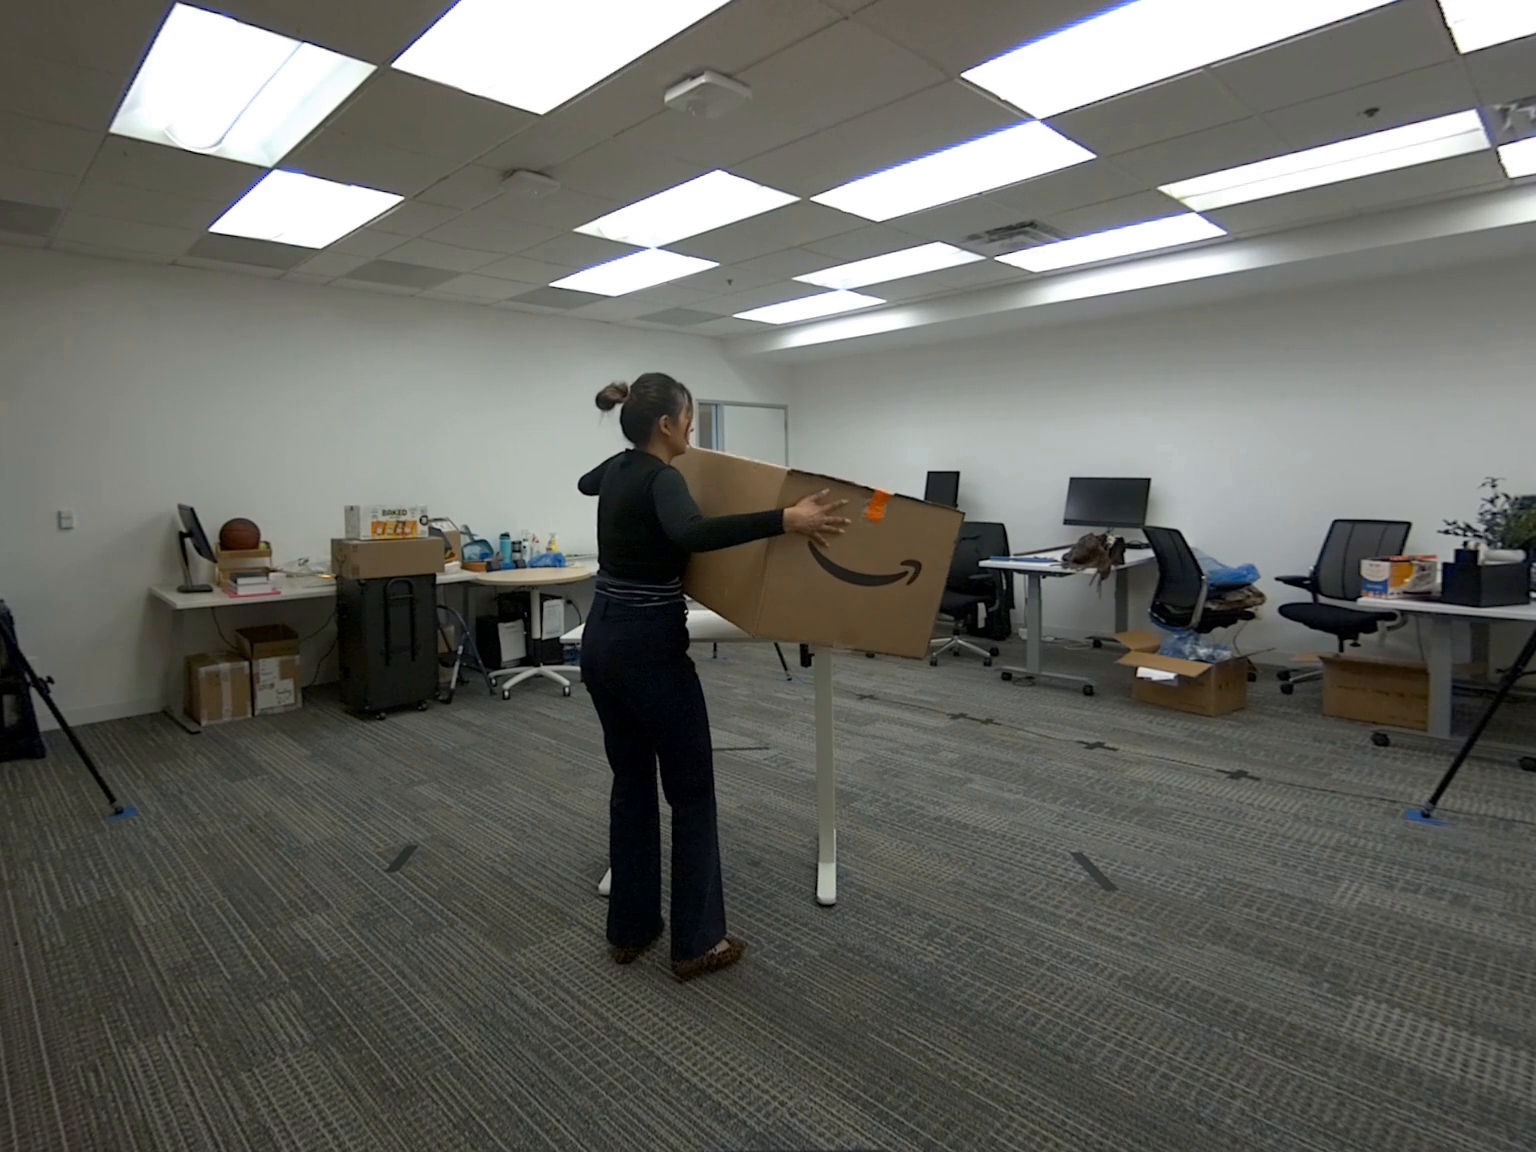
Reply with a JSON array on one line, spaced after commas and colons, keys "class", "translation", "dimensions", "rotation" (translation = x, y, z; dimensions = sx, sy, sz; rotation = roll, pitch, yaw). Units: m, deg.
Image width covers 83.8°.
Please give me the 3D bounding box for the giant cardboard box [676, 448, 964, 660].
[{"class": "giant cardboard box", "translation": [0.006, -0.128, 2.661], "dimensions": [0.561, 0.425, 1.059], "rotation": [11, 7, -30]}]
